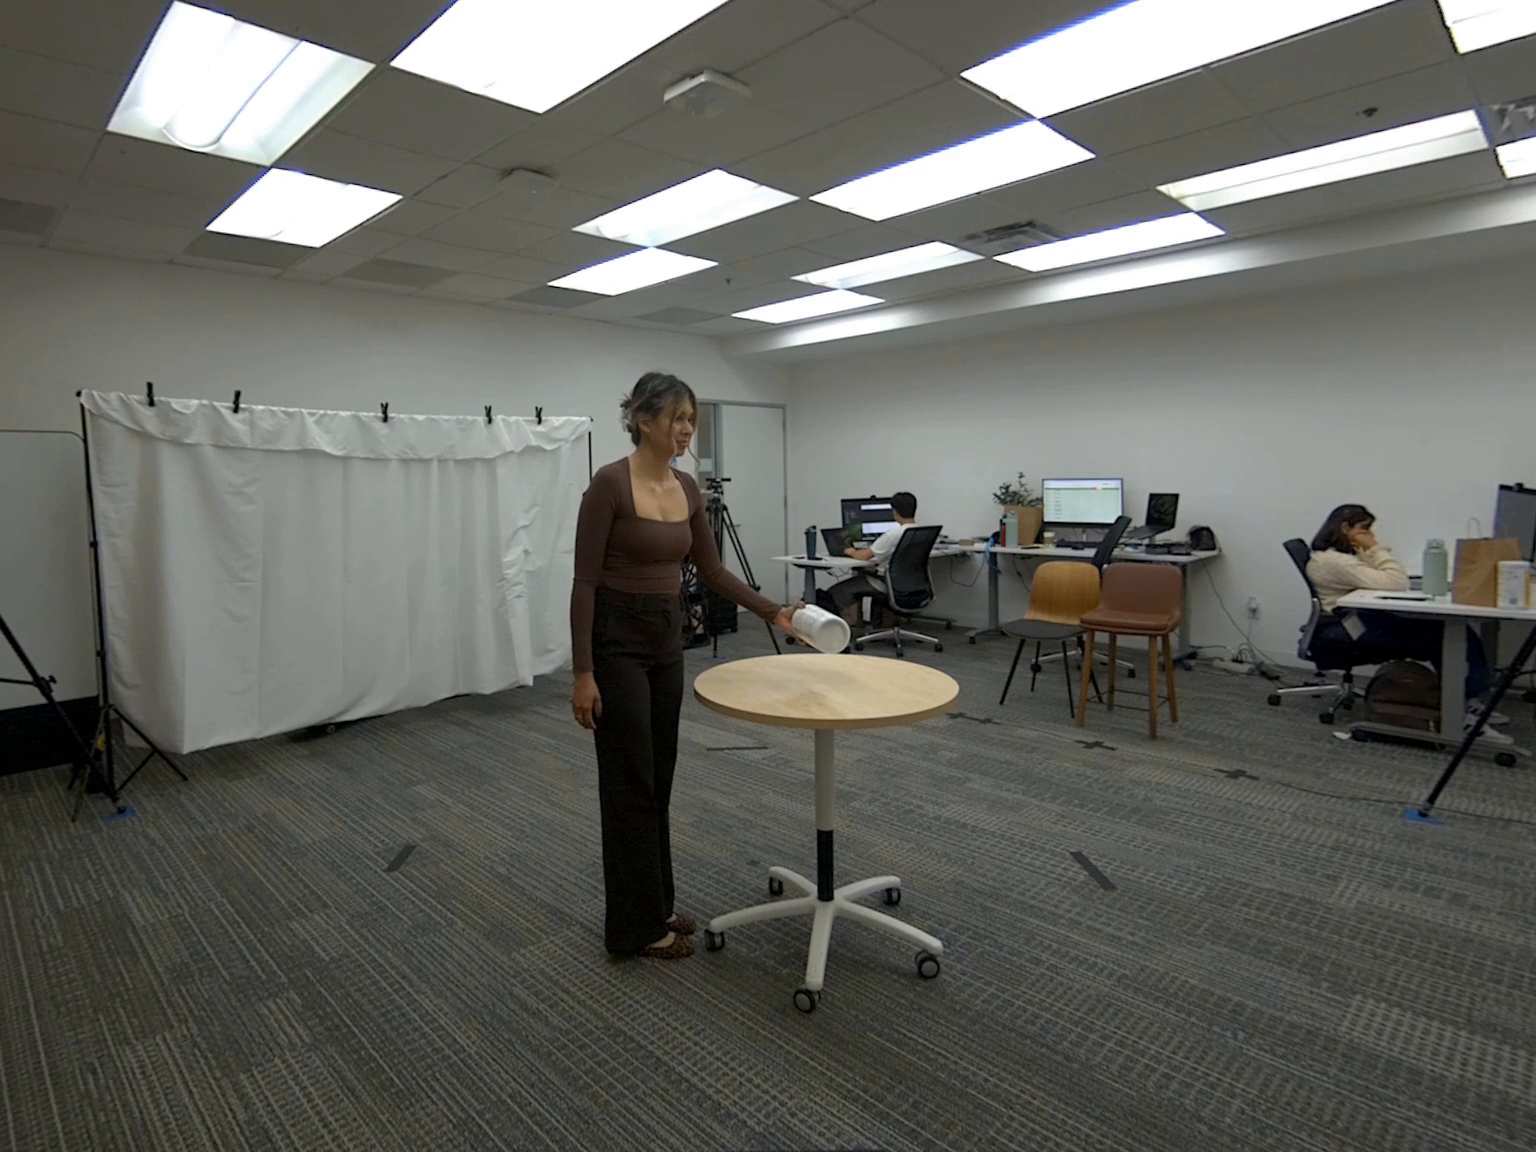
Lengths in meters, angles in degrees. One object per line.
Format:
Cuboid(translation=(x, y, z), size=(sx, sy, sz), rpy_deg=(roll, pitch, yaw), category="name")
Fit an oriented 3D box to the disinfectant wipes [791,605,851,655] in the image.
Cuboid(translation=(0.152, 0.153, 2.499), size=(0.116, 0.117, 0.222), rpy_deg=(-2, 6, -16), category="disinfectant wipes")
